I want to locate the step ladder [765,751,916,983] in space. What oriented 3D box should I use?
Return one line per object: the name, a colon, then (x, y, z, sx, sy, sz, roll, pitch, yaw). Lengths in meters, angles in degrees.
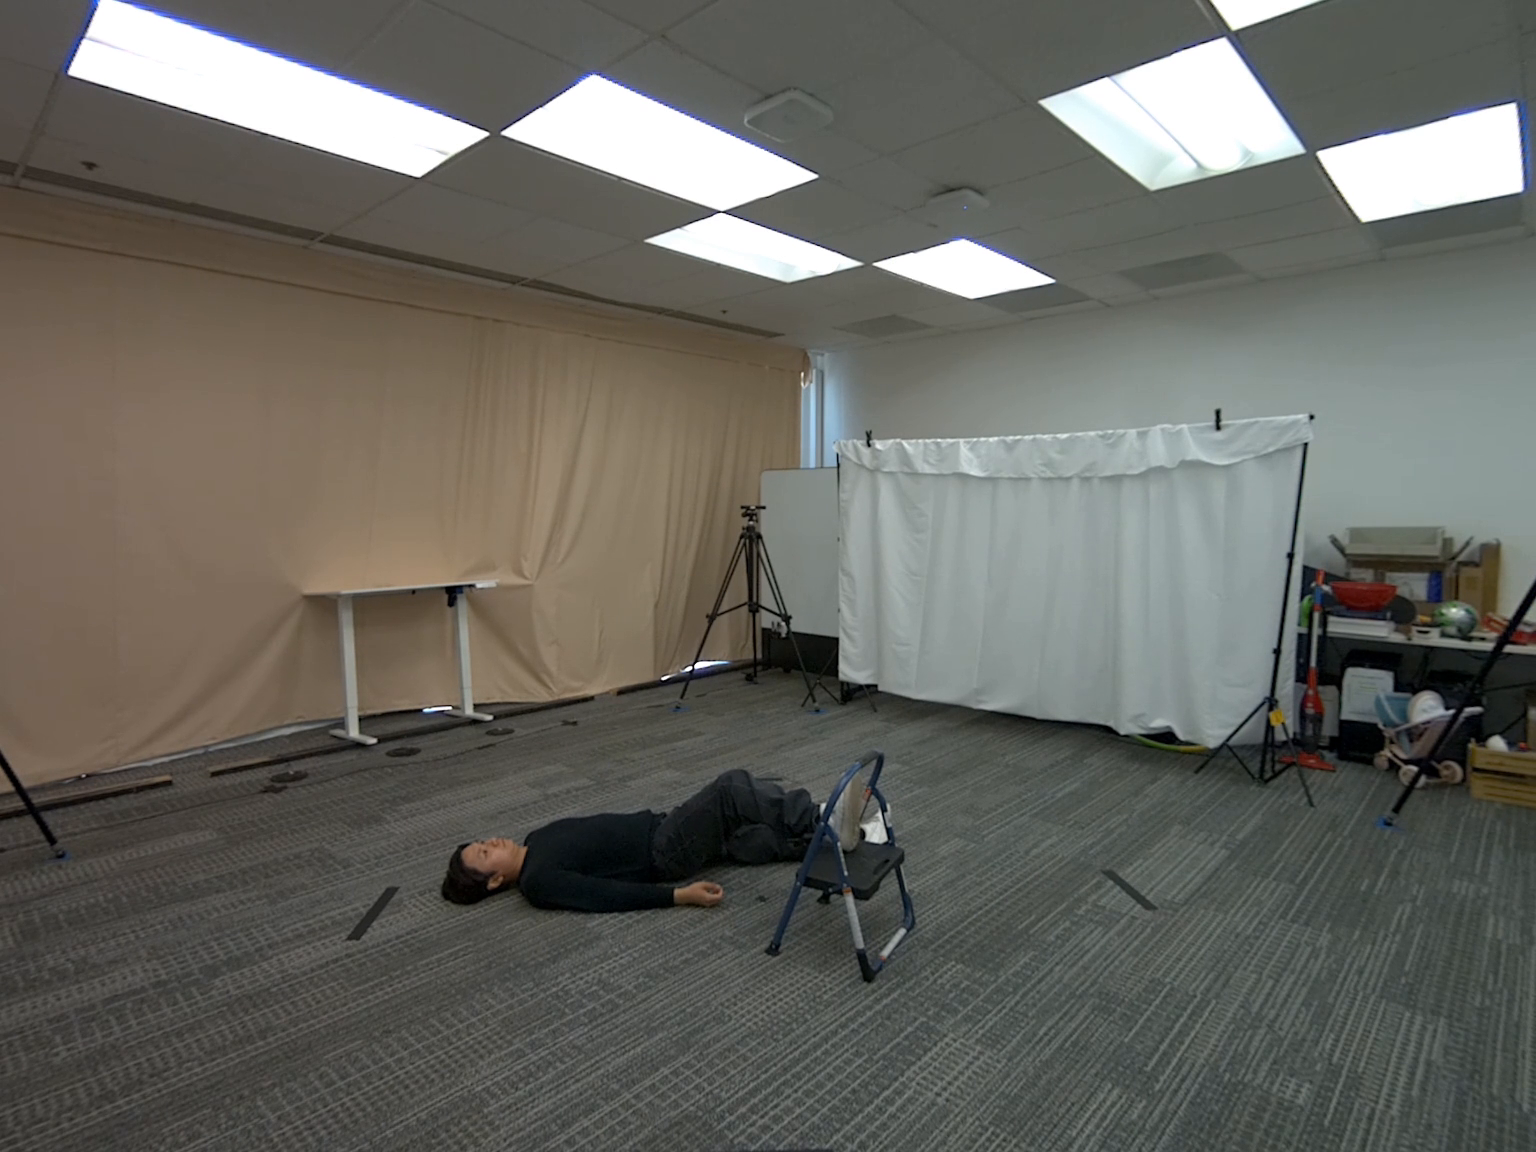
step ladder: (0.247, 0.866, 2.693, 0.359, 0.605, 0.419, 2, 4, 29)
